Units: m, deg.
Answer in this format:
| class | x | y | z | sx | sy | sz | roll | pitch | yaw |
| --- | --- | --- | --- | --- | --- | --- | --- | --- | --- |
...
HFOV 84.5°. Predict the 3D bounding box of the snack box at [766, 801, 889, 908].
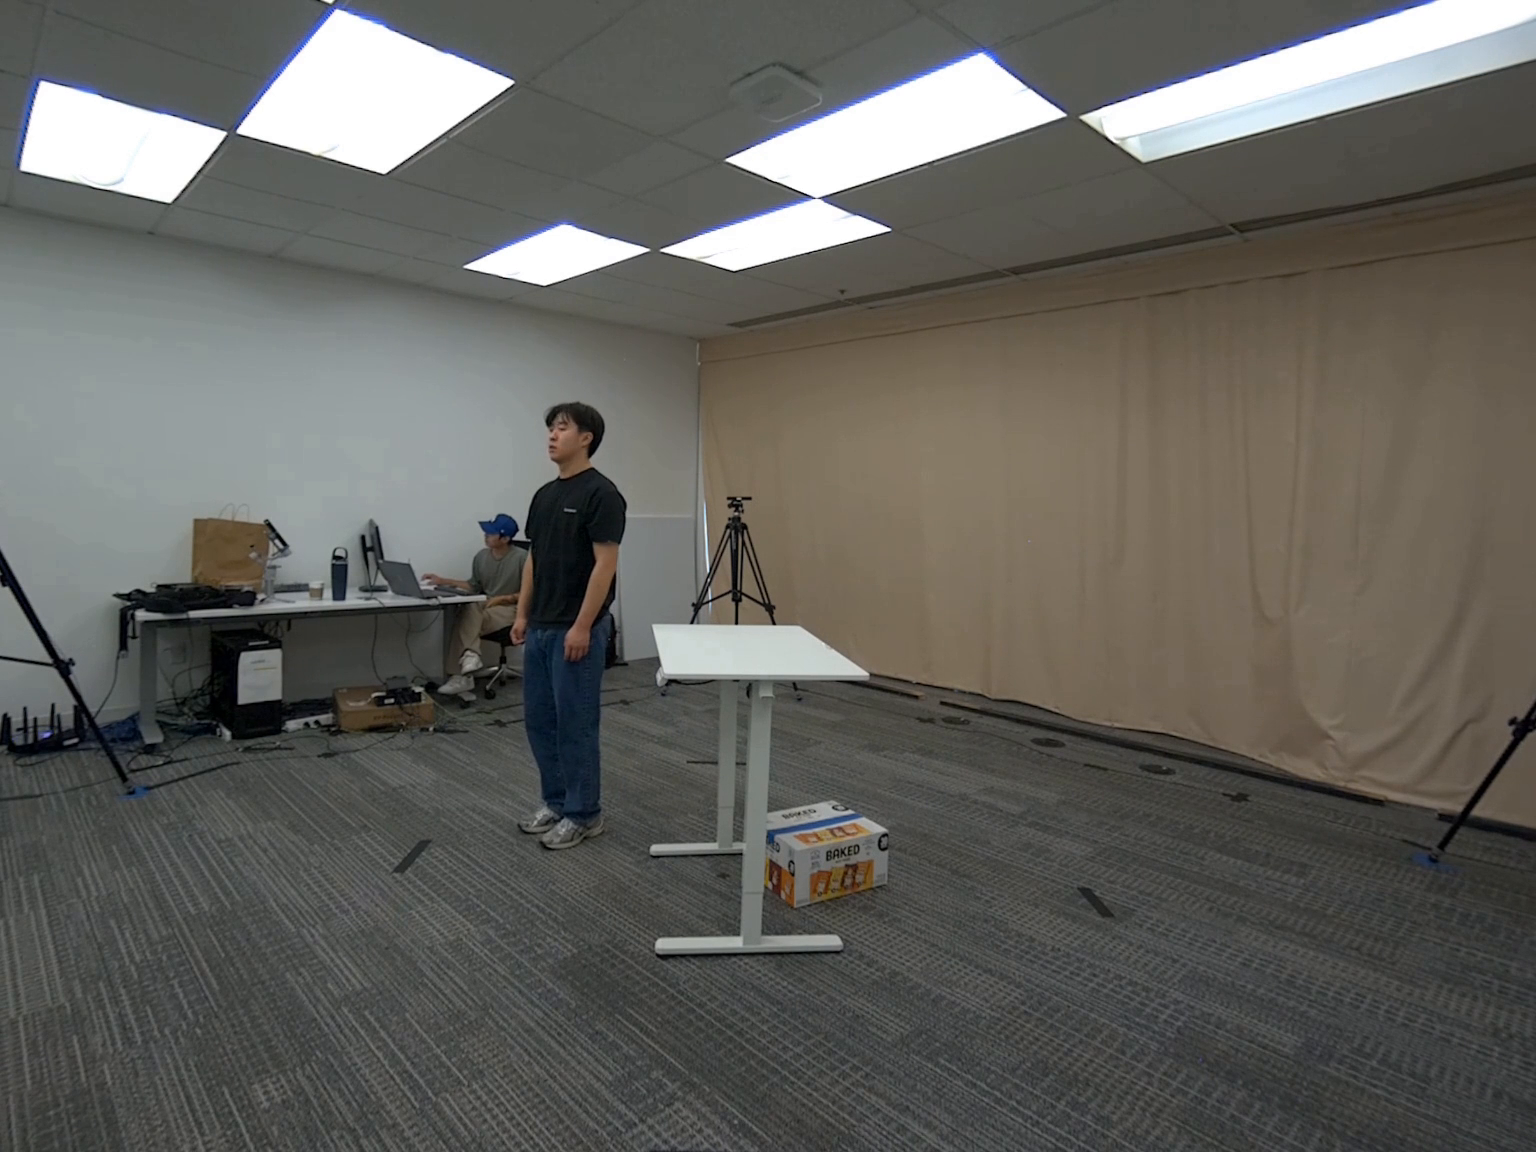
| class | x | y | z | sx | sy | sz | roll | pitch | yaw |
| --- | --- | --- | --- | --- | --- | --- | --- | --- | --- |
| snack box | 0.173 | 1.014 | 3.097 | 0.397 | 0.205 | 0.348 | -2 | 5 | -30 |
